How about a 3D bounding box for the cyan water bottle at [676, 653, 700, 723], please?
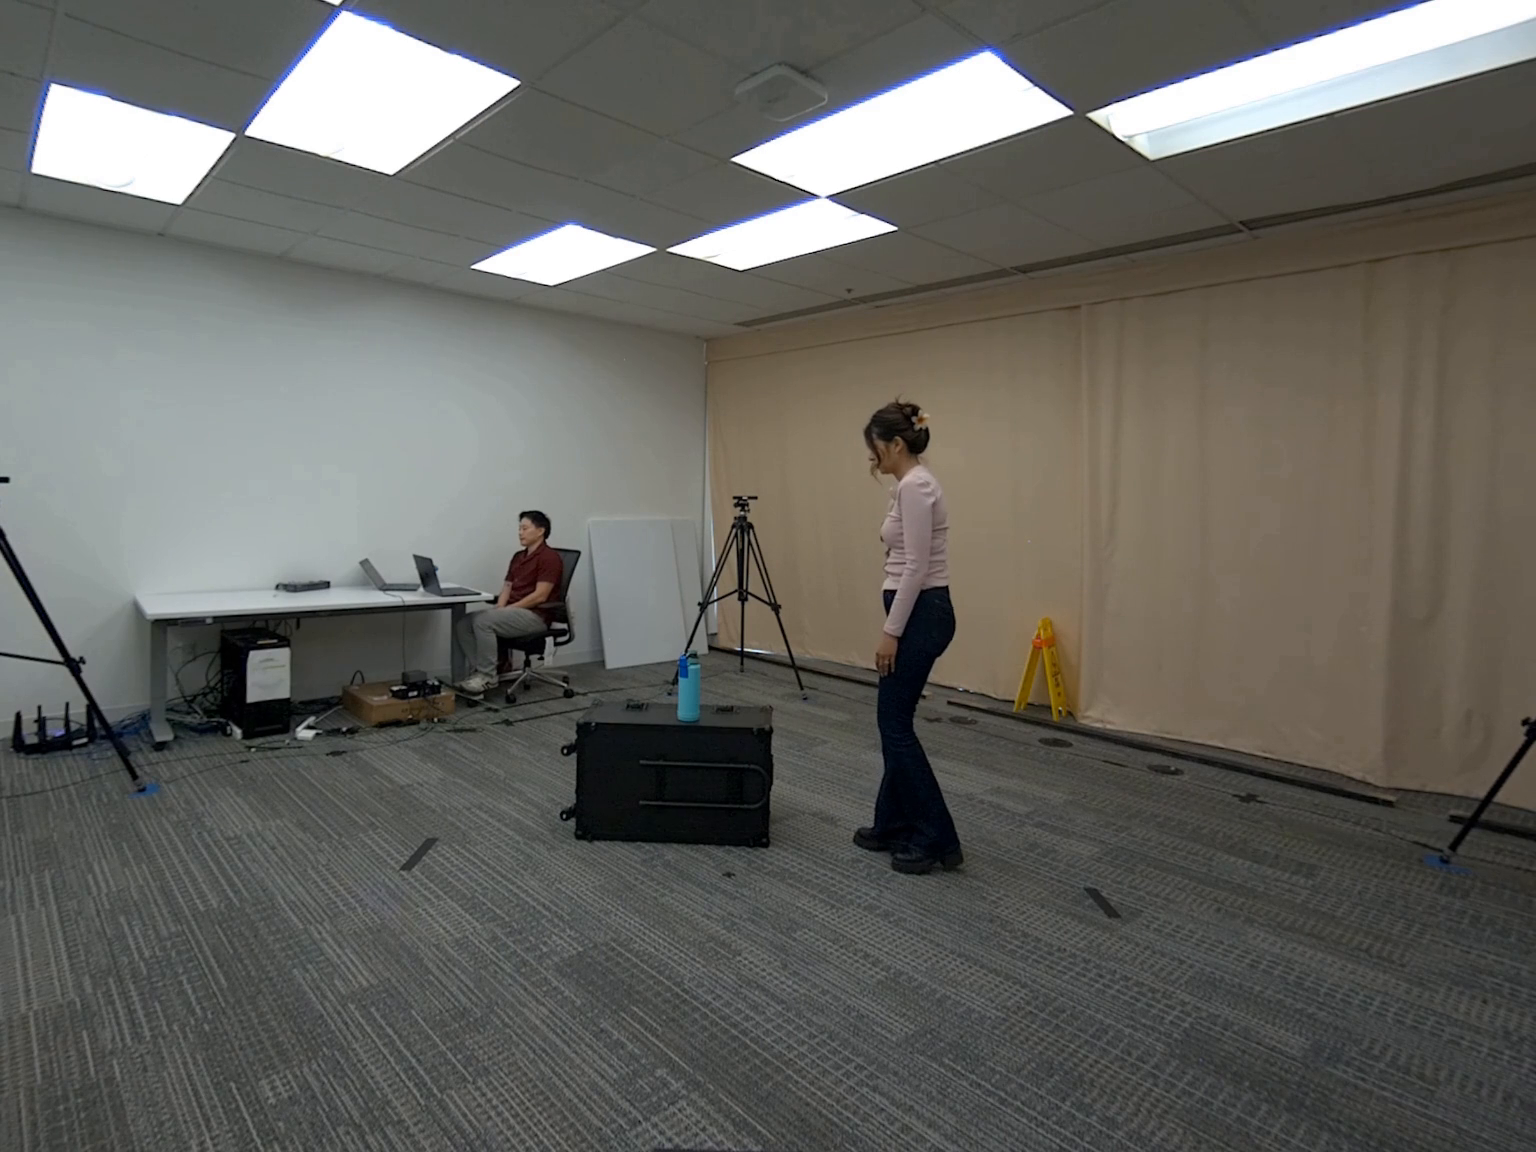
[{"bbox_3d":[-0.325,0.443,3.449,0.092,0.283,0.092,2,4,-1],"label":"cyan water bottle"}]
